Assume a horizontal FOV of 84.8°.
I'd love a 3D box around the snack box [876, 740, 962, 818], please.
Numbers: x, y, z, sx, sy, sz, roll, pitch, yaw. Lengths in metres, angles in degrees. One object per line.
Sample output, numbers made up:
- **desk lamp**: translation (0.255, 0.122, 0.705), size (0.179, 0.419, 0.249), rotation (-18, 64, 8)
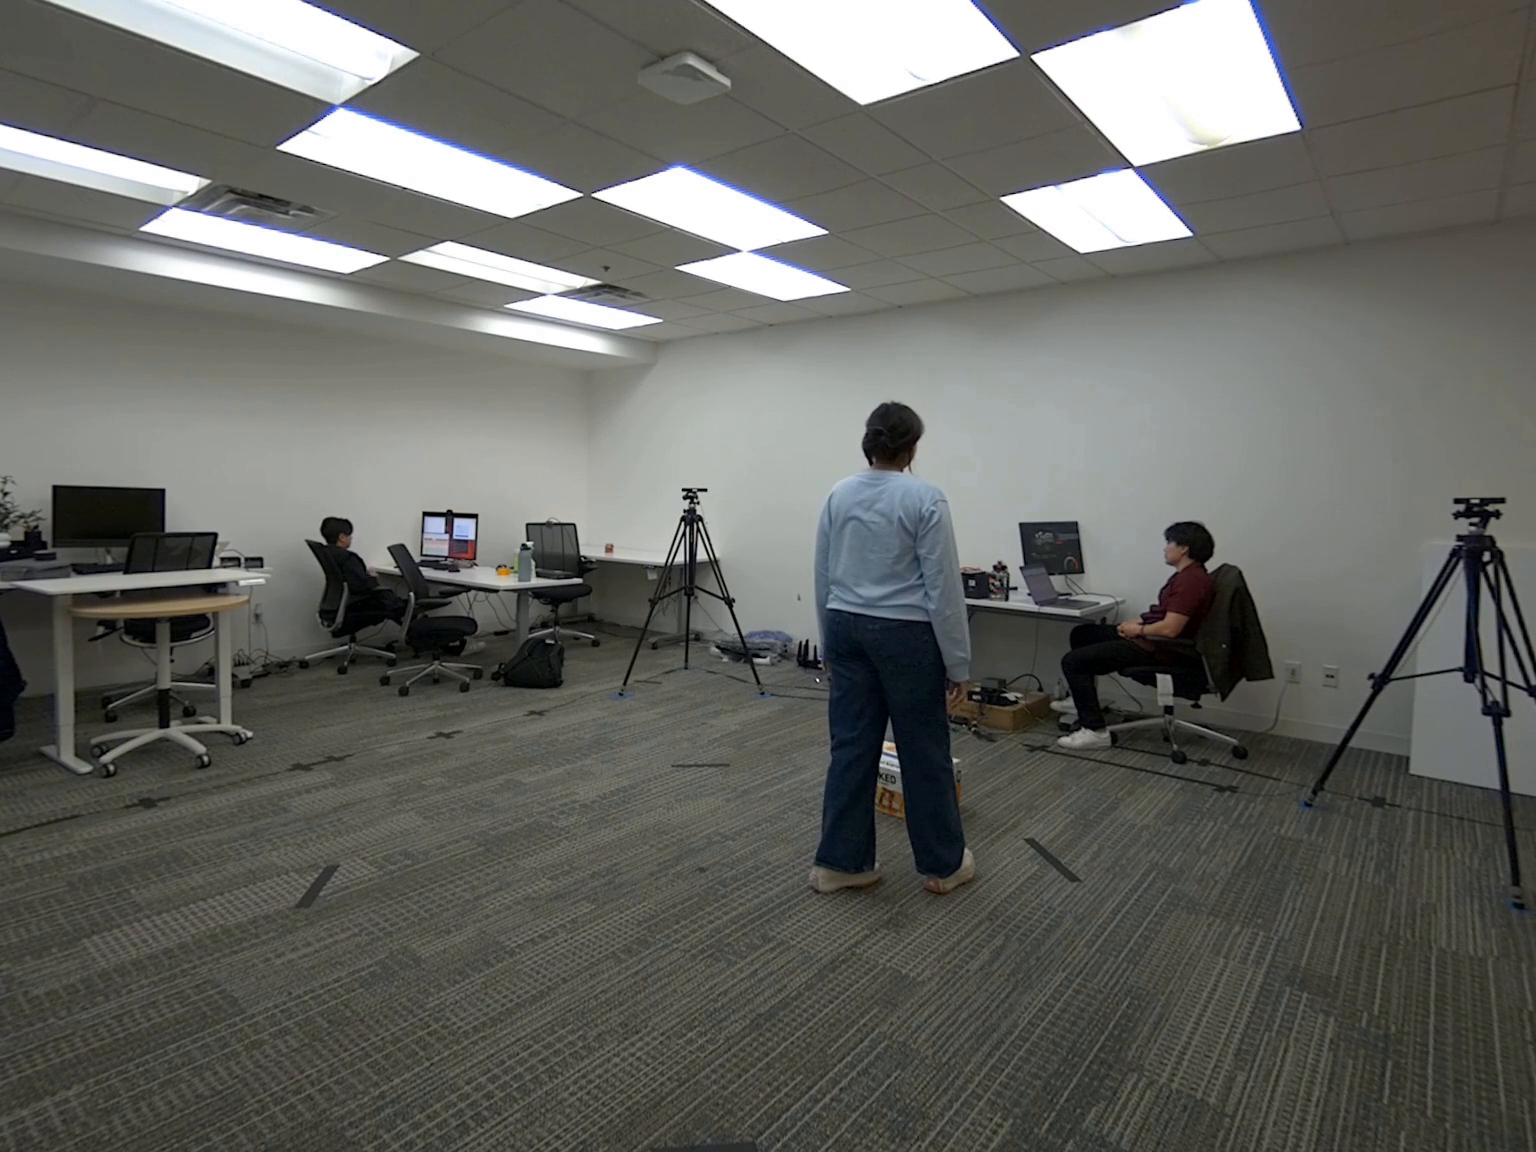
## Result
- **snack box**: translation (0.591, 0.911, 3.823), size (0.419, 0.205, 0.330), rotation (6, 6, 41)
